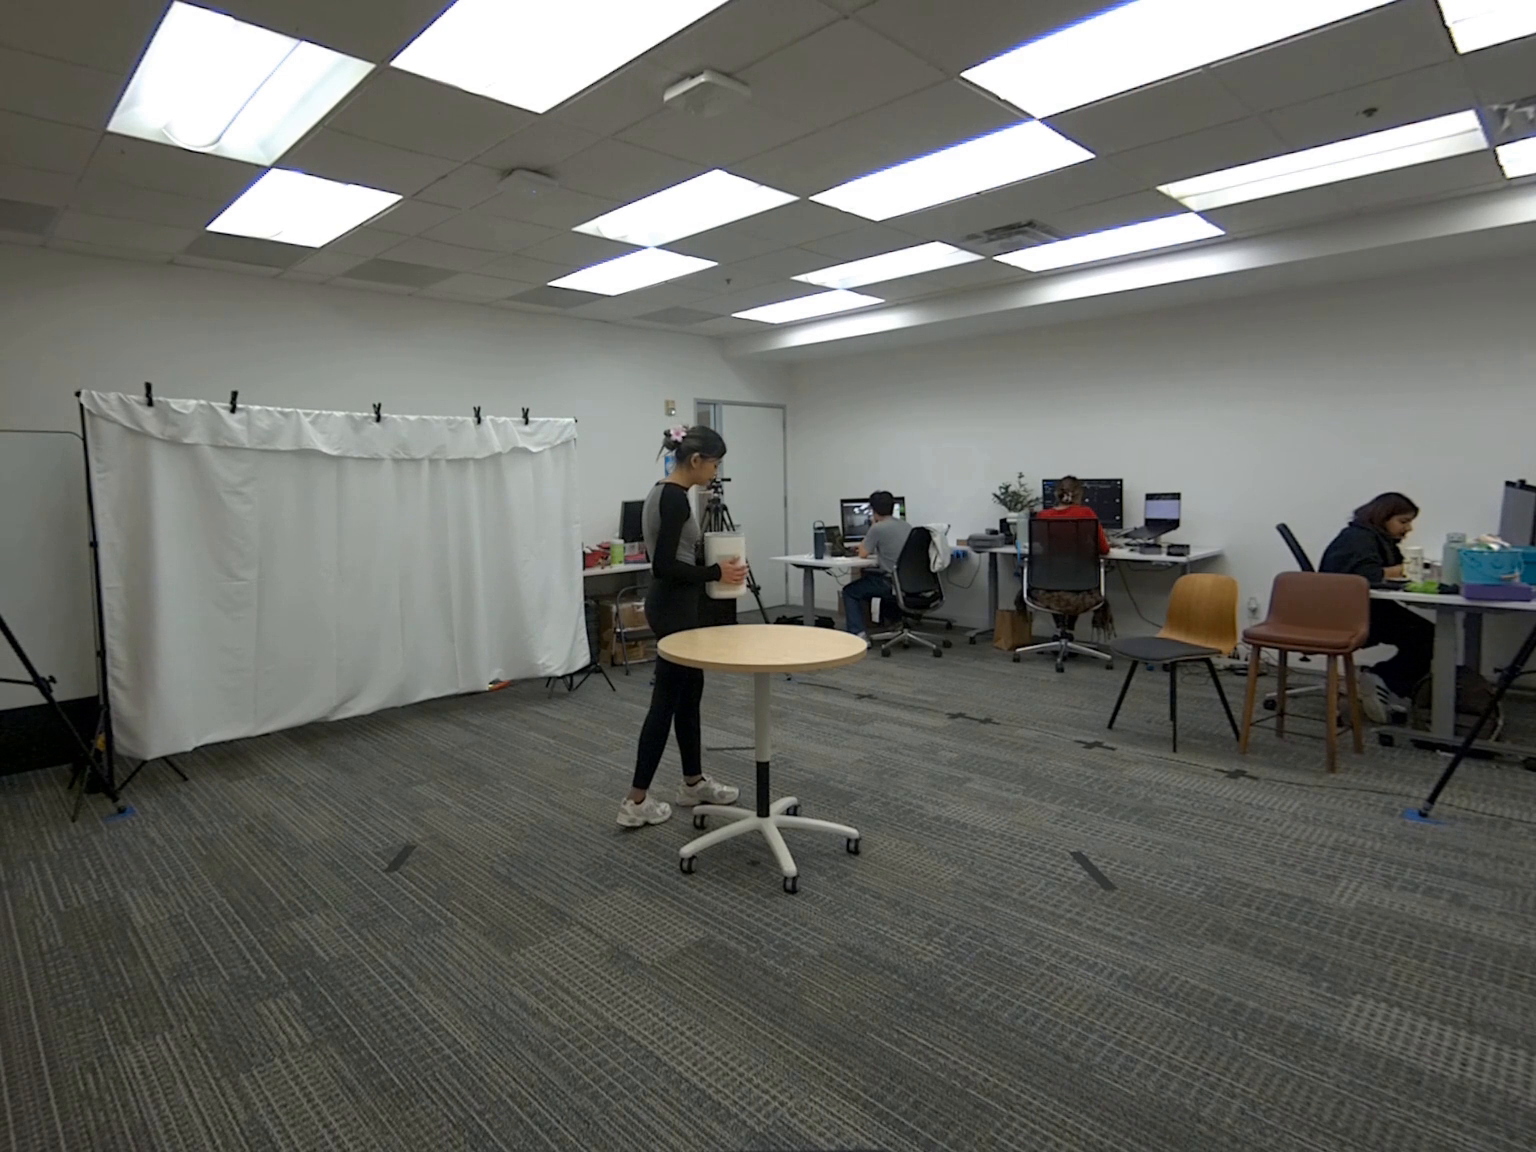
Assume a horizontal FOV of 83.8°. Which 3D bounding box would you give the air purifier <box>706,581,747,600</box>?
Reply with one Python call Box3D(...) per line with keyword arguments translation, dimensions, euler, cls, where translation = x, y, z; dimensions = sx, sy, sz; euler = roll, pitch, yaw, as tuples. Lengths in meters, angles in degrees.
Box3D(translation=(-0.183, -0.045, 3.598), dimensions=(0.172, 0.264, 0.172), euler=(-2, 7, 6), cls="air purifier")
